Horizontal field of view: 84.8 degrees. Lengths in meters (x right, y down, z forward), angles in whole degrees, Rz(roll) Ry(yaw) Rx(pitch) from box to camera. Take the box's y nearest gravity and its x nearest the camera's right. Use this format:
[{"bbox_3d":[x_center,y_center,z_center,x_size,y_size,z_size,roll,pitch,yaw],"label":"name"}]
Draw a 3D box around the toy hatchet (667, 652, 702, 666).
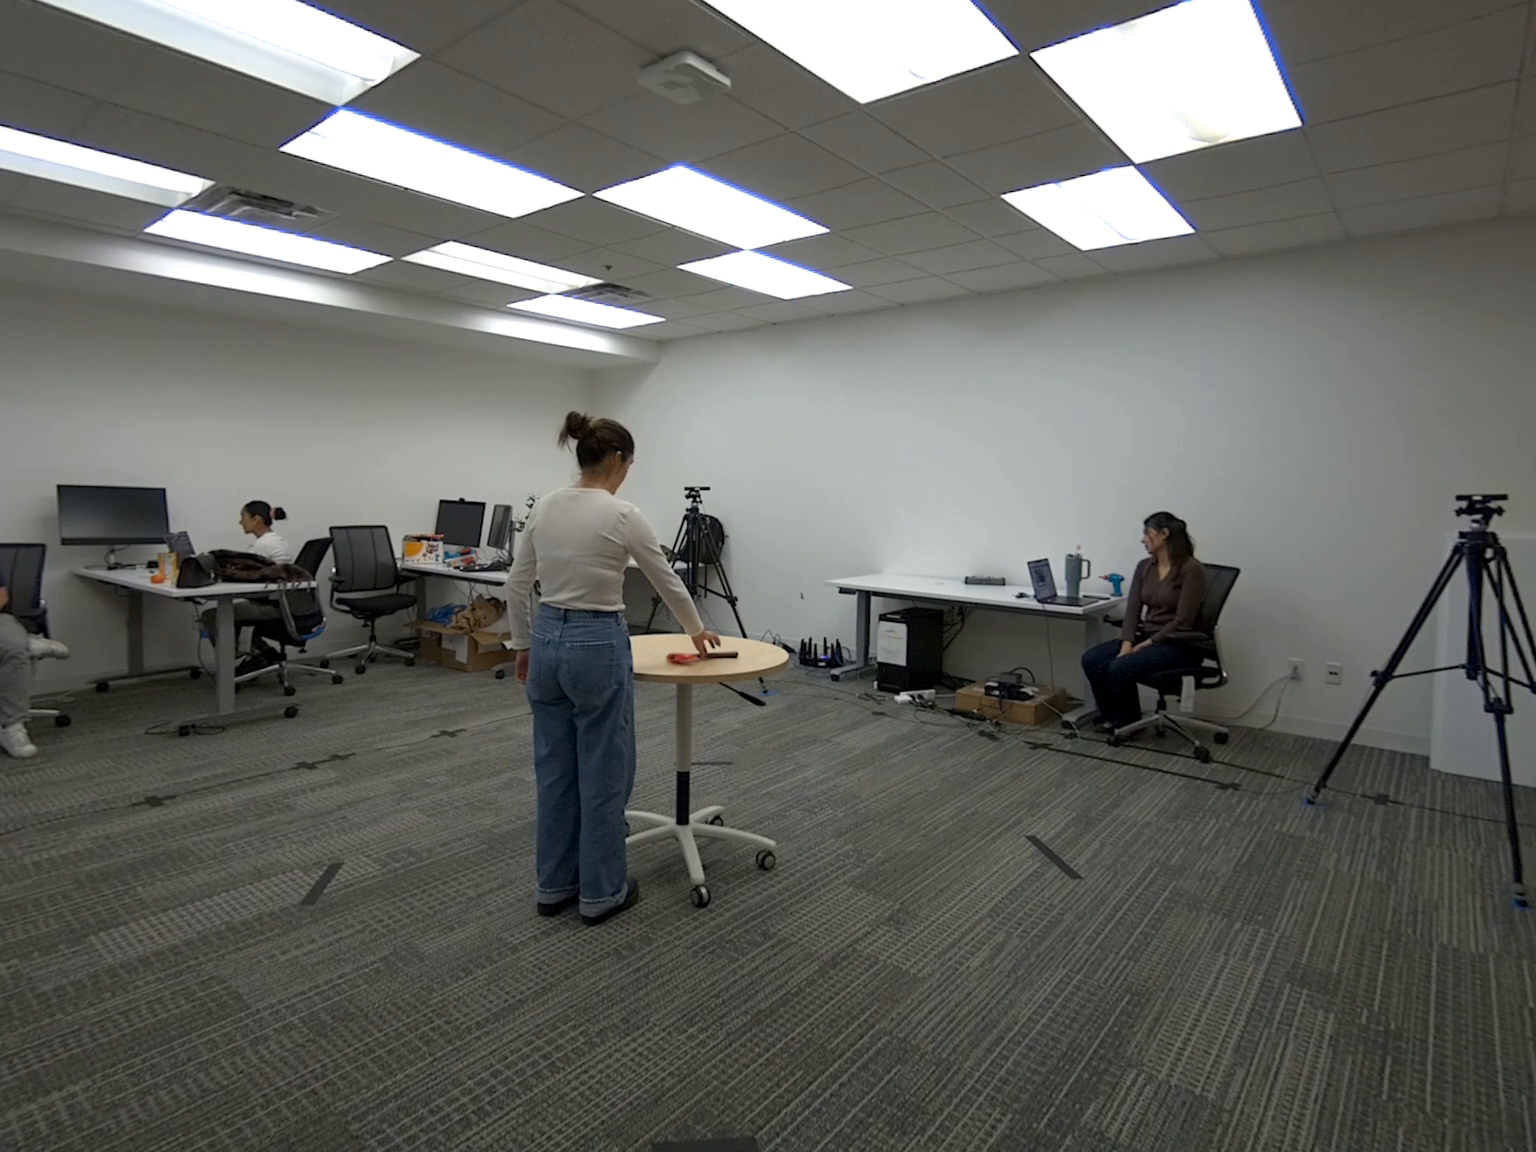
[{"bbox_3d":[-0.222,0.278,2.990,0.266,0.030,0.132,-1,-7,-15],"label":"toy hatchet"}]
